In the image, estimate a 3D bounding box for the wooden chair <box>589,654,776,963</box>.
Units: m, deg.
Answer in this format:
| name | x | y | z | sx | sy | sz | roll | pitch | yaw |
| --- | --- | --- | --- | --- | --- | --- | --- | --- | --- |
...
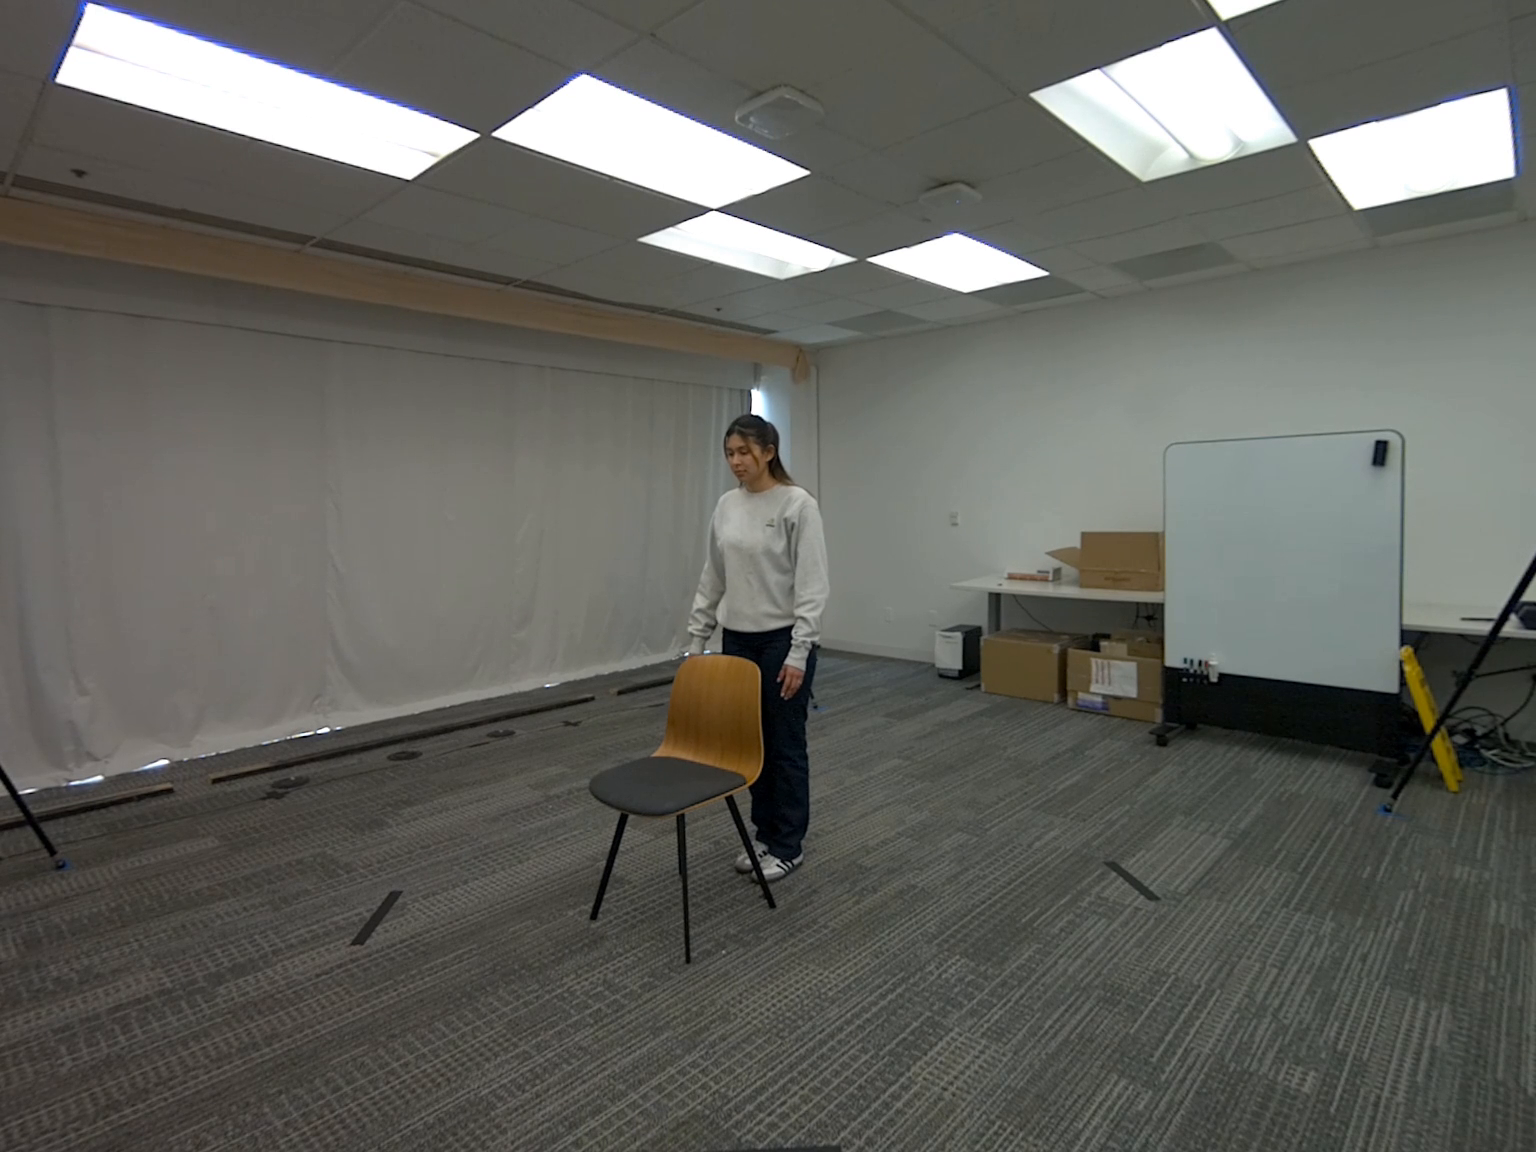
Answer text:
| name | x | y | z | sx | sy | sz | roll | pitch | yaw |
| --- | --- | --- | --- | --- | --- | --- | --- | --- | --- |
| wooden chair | -0.292 | 0.727 | 2.831 | 0.493 | 0.877 | 0.506 | 2 | 0 | 38 |
